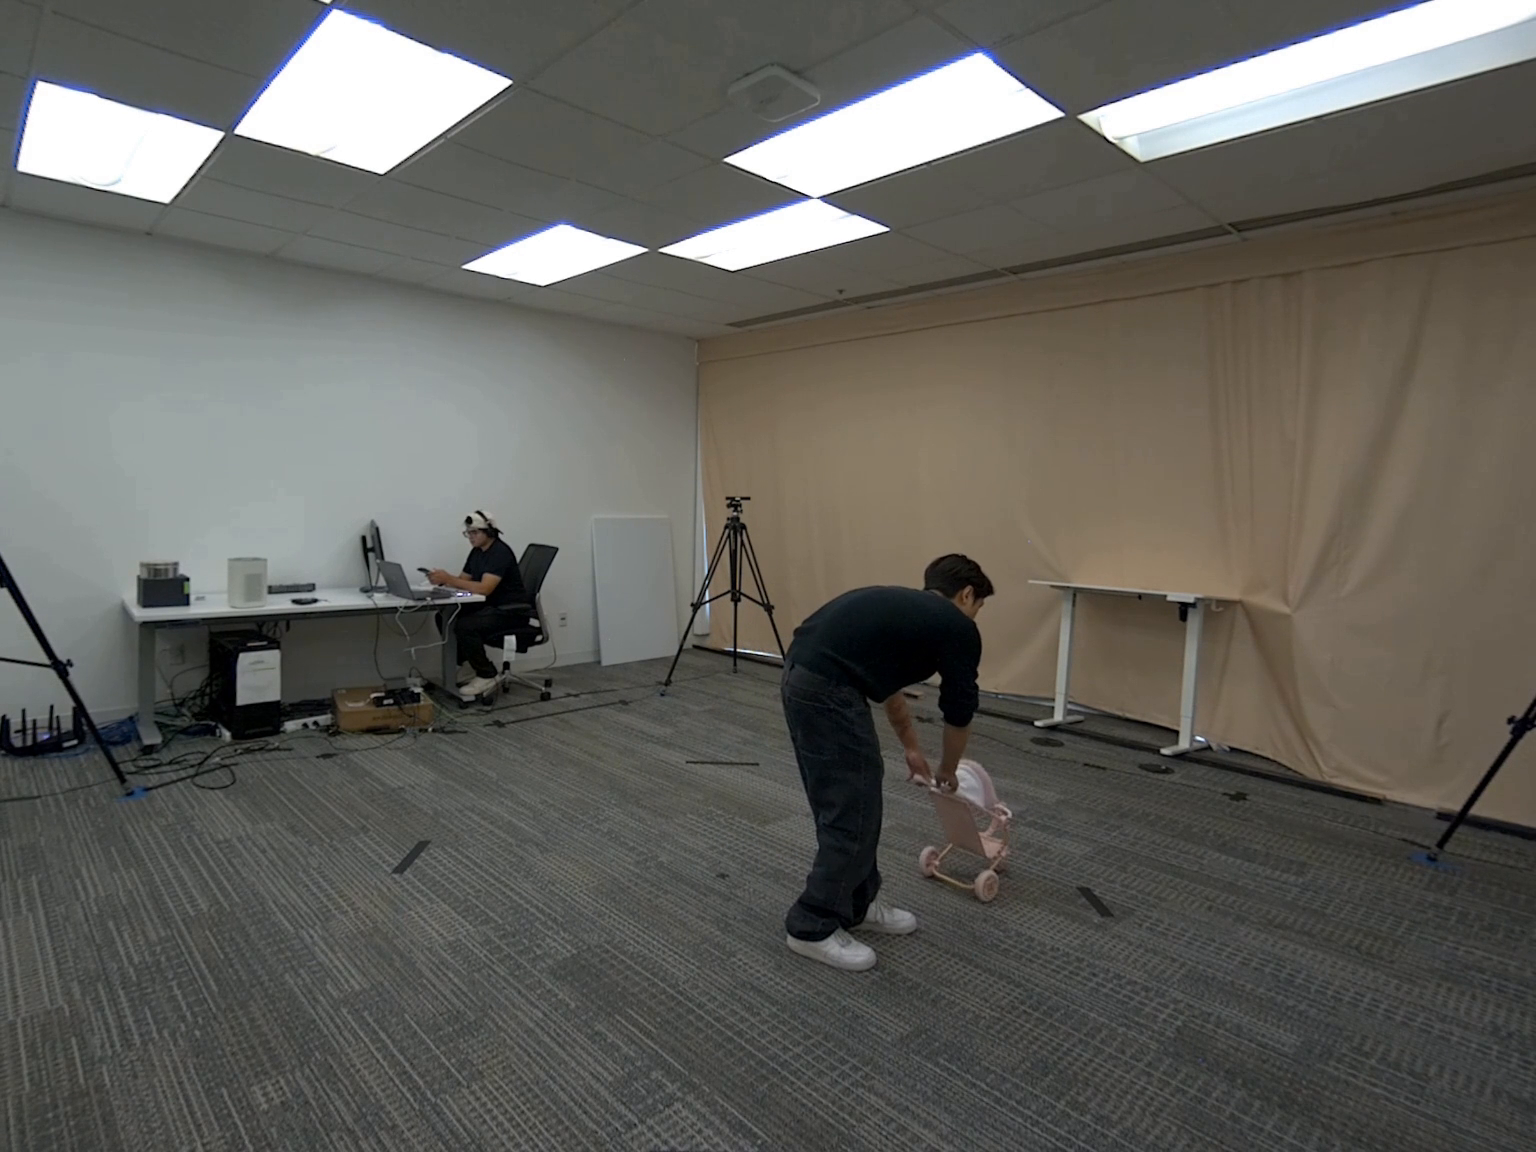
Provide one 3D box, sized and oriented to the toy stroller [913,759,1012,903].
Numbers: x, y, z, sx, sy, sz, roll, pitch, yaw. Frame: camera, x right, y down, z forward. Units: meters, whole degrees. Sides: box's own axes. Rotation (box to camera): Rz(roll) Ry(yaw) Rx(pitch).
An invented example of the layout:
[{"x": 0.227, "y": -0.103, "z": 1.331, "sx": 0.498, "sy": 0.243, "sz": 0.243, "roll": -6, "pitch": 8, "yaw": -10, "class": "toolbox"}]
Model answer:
[{"x": 0.729, "y": 0.904, "z": 3.075, "sx": 0.337, "sy": 0.529, "sz": 0.288, "roll": -21, "pitch": 16, "yaw": -34, "class": "toy stroller"}]
